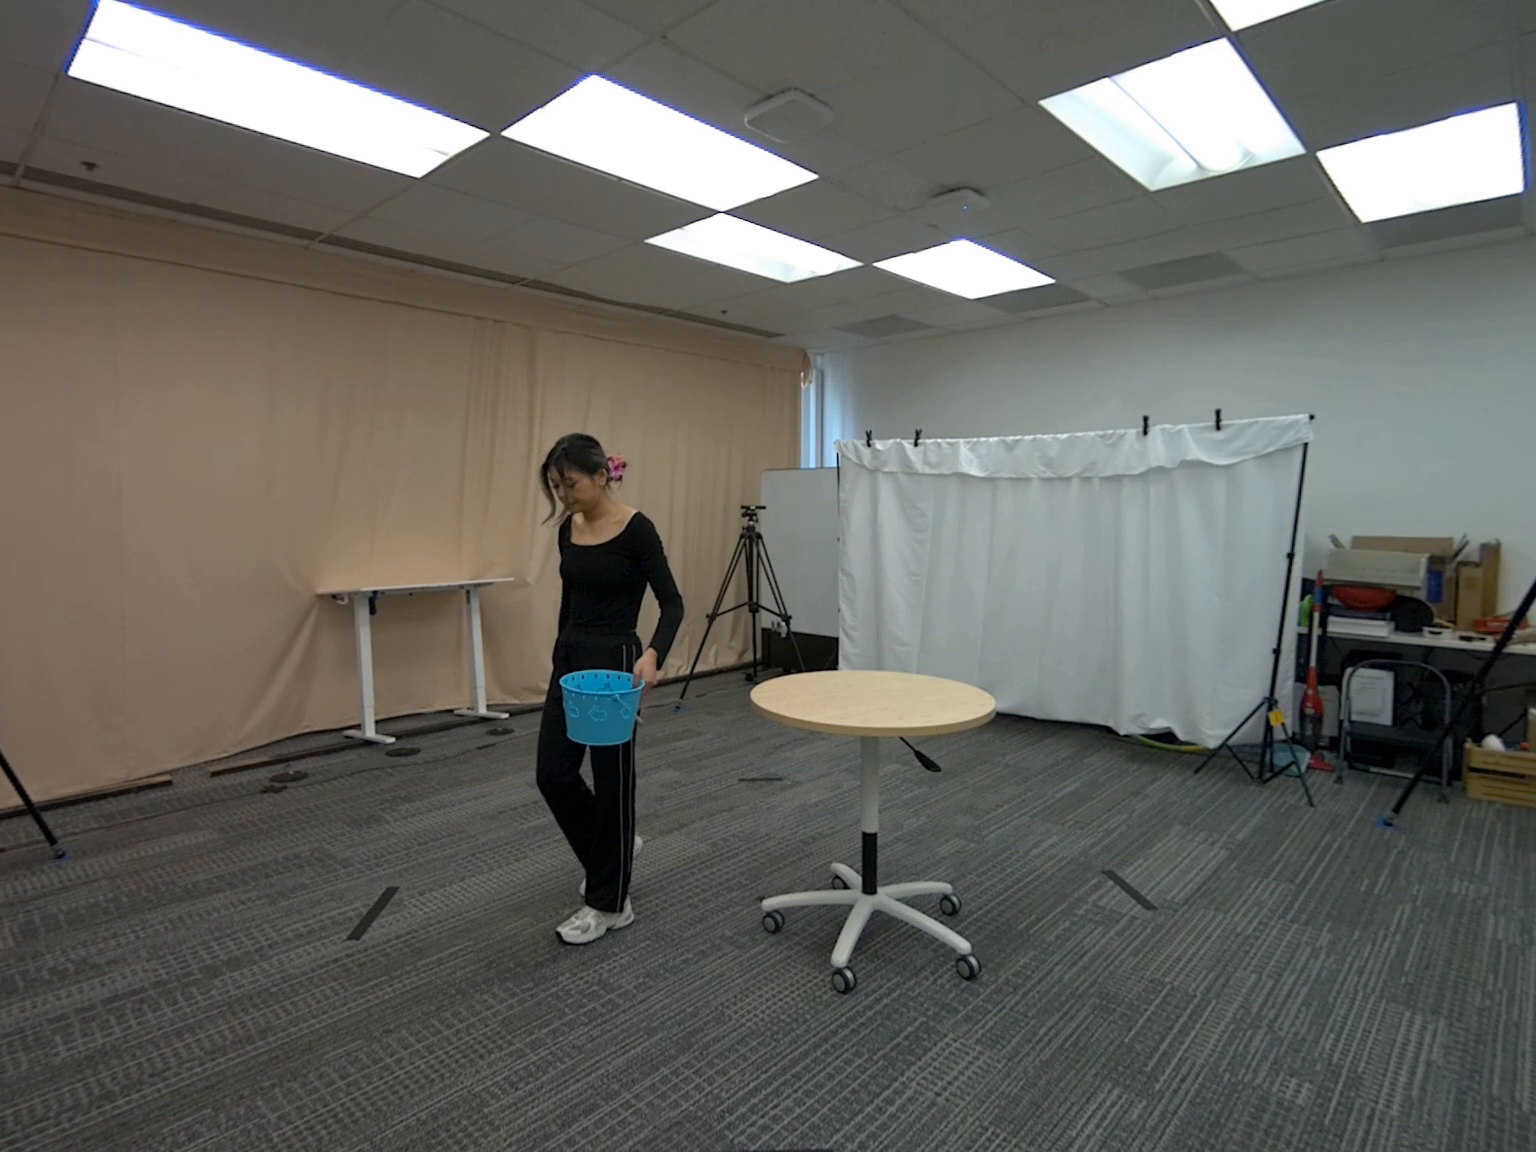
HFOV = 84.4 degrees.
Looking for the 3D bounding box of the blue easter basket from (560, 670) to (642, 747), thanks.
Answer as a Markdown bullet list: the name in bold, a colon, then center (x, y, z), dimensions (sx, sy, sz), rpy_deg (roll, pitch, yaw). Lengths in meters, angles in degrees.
- **blue easter basket**: center (-0.462, 0.365, 2.339), dimensions (0.243, 0.155, 0.245), rpy_deg (3, 7, -2)
